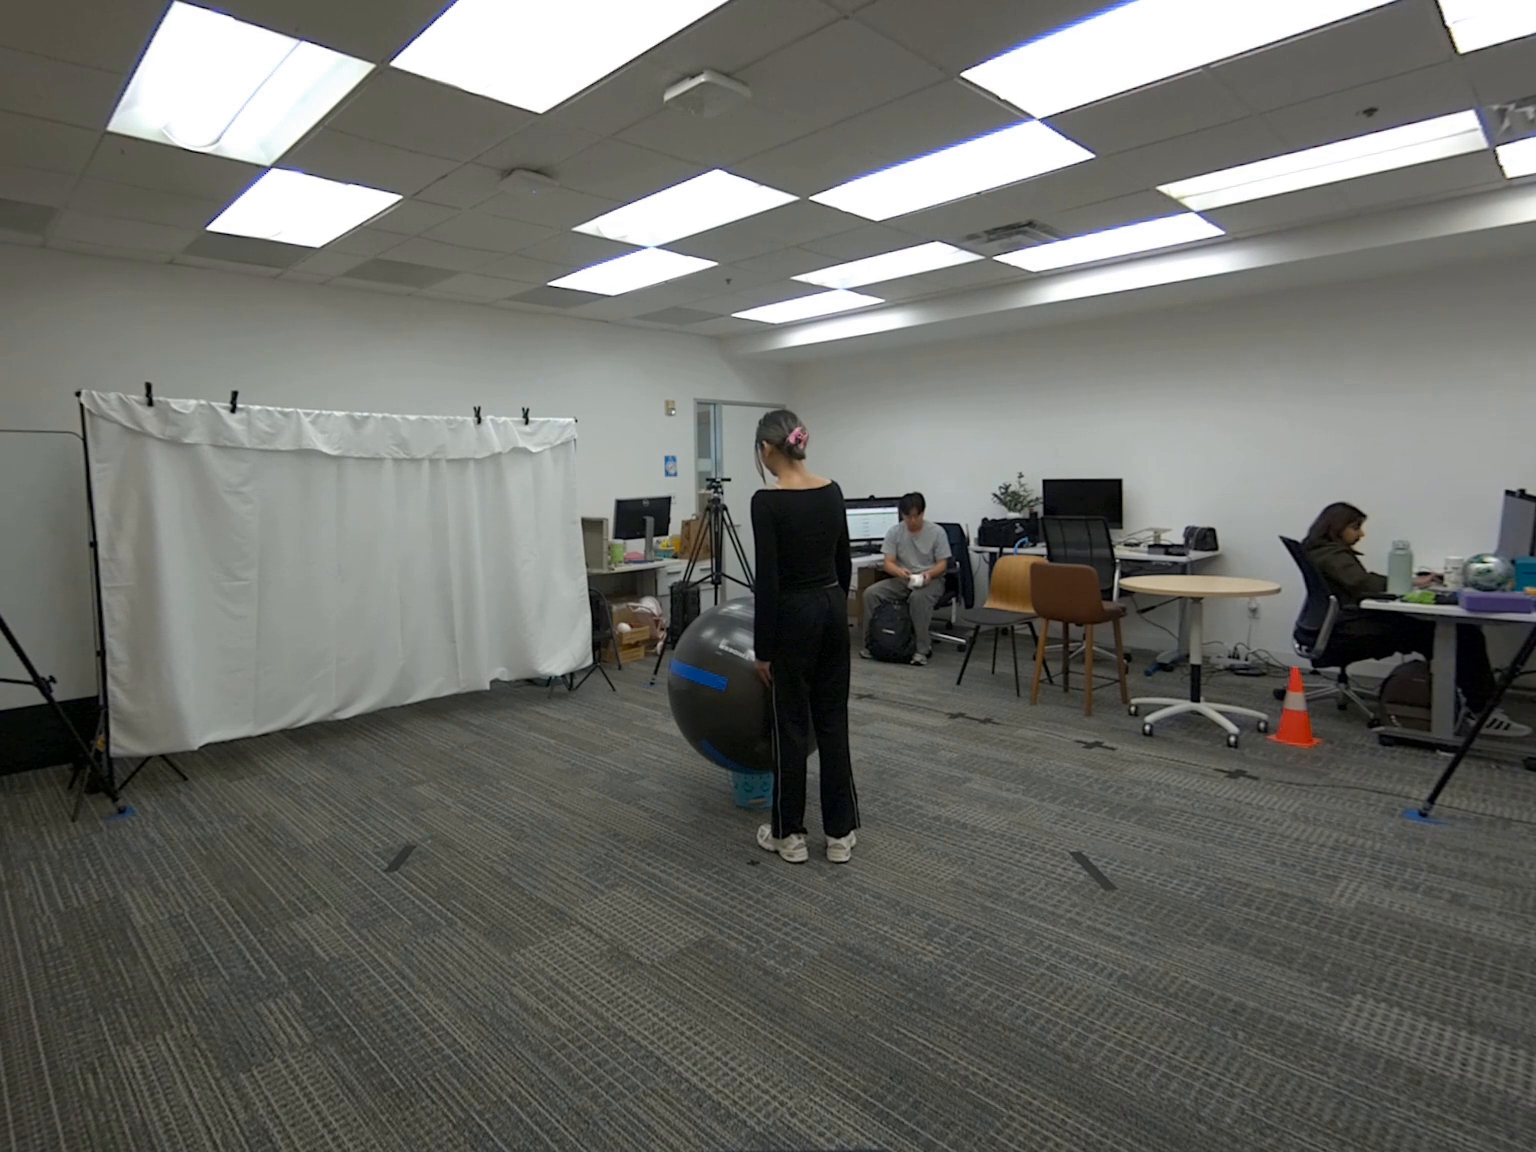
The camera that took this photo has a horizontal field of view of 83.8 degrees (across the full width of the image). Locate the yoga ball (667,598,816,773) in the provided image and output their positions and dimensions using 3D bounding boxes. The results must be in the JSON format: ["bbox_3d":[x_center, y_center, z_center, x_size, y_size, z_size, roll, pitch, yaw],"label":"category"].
[{"bbox_3d":[-0.059,0.470,3.695,0.757,0.755,0.762,-1,5,-2],"label":"yoga ball"}]
